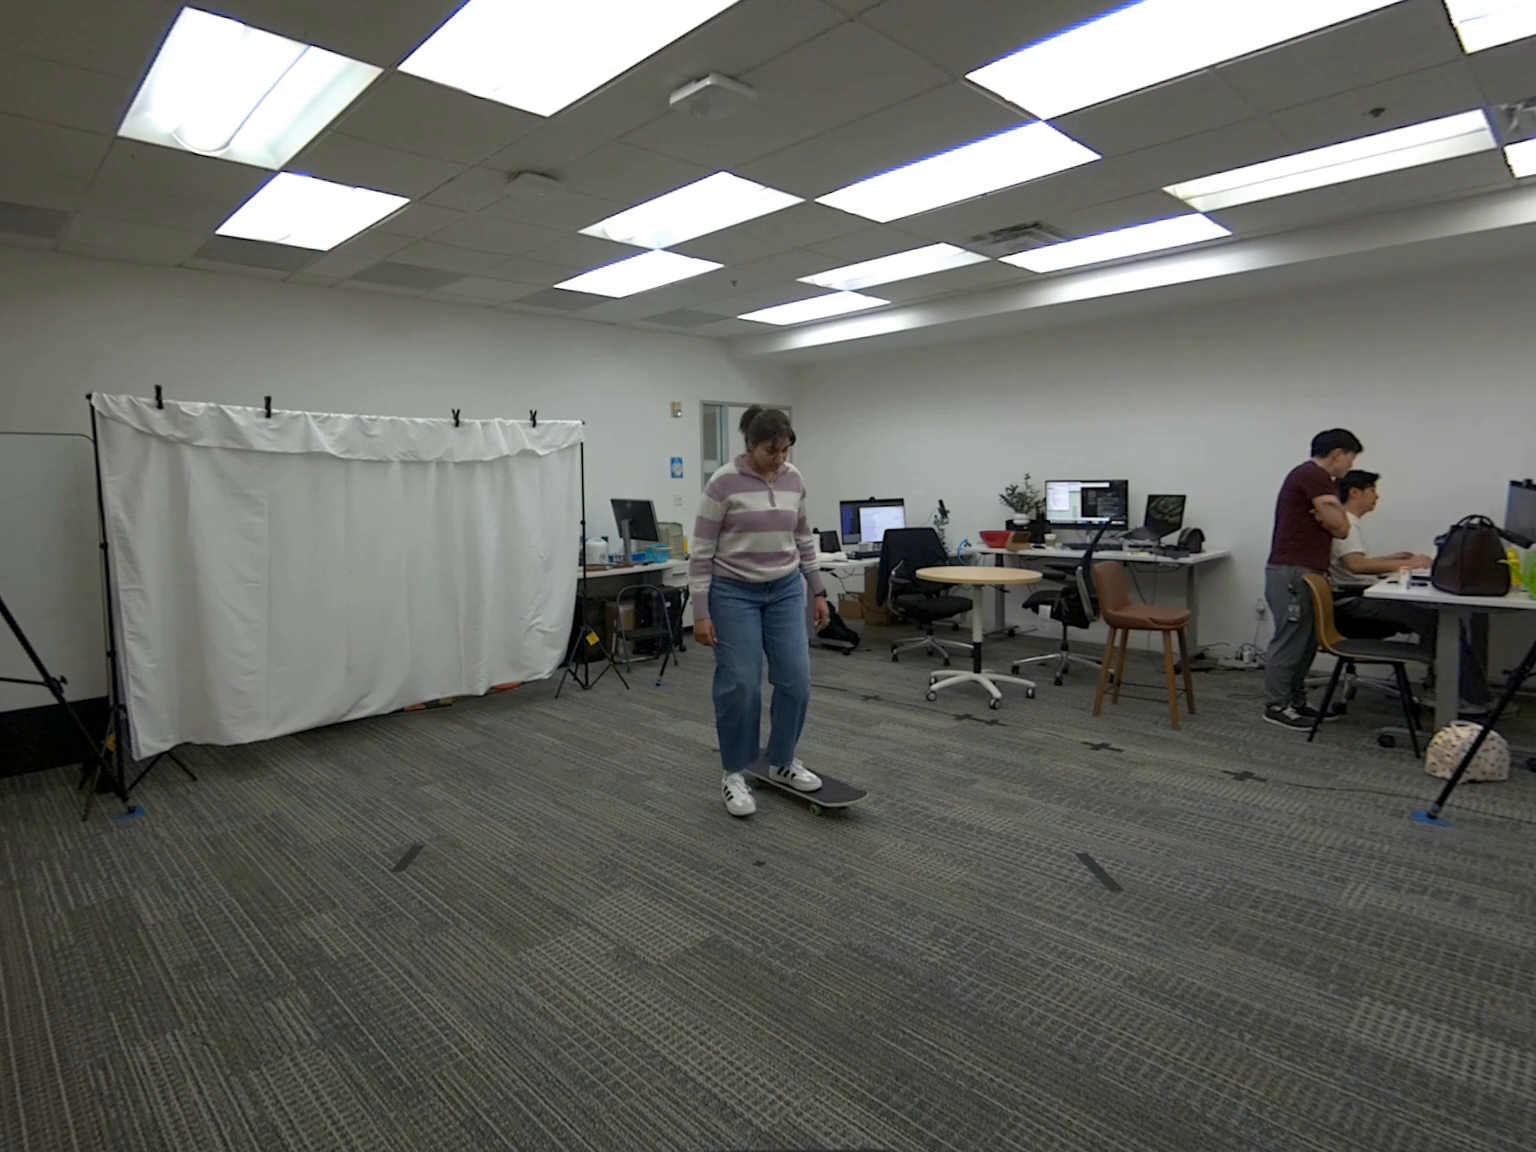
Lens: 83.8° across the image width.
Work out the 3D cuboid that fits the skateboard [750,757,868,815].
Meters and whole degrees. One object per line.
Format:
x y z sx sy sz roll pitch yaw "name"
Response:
0.143 0.920 3.749 0.189 0.109 0.809 -11 11 -35 "skateboard"
